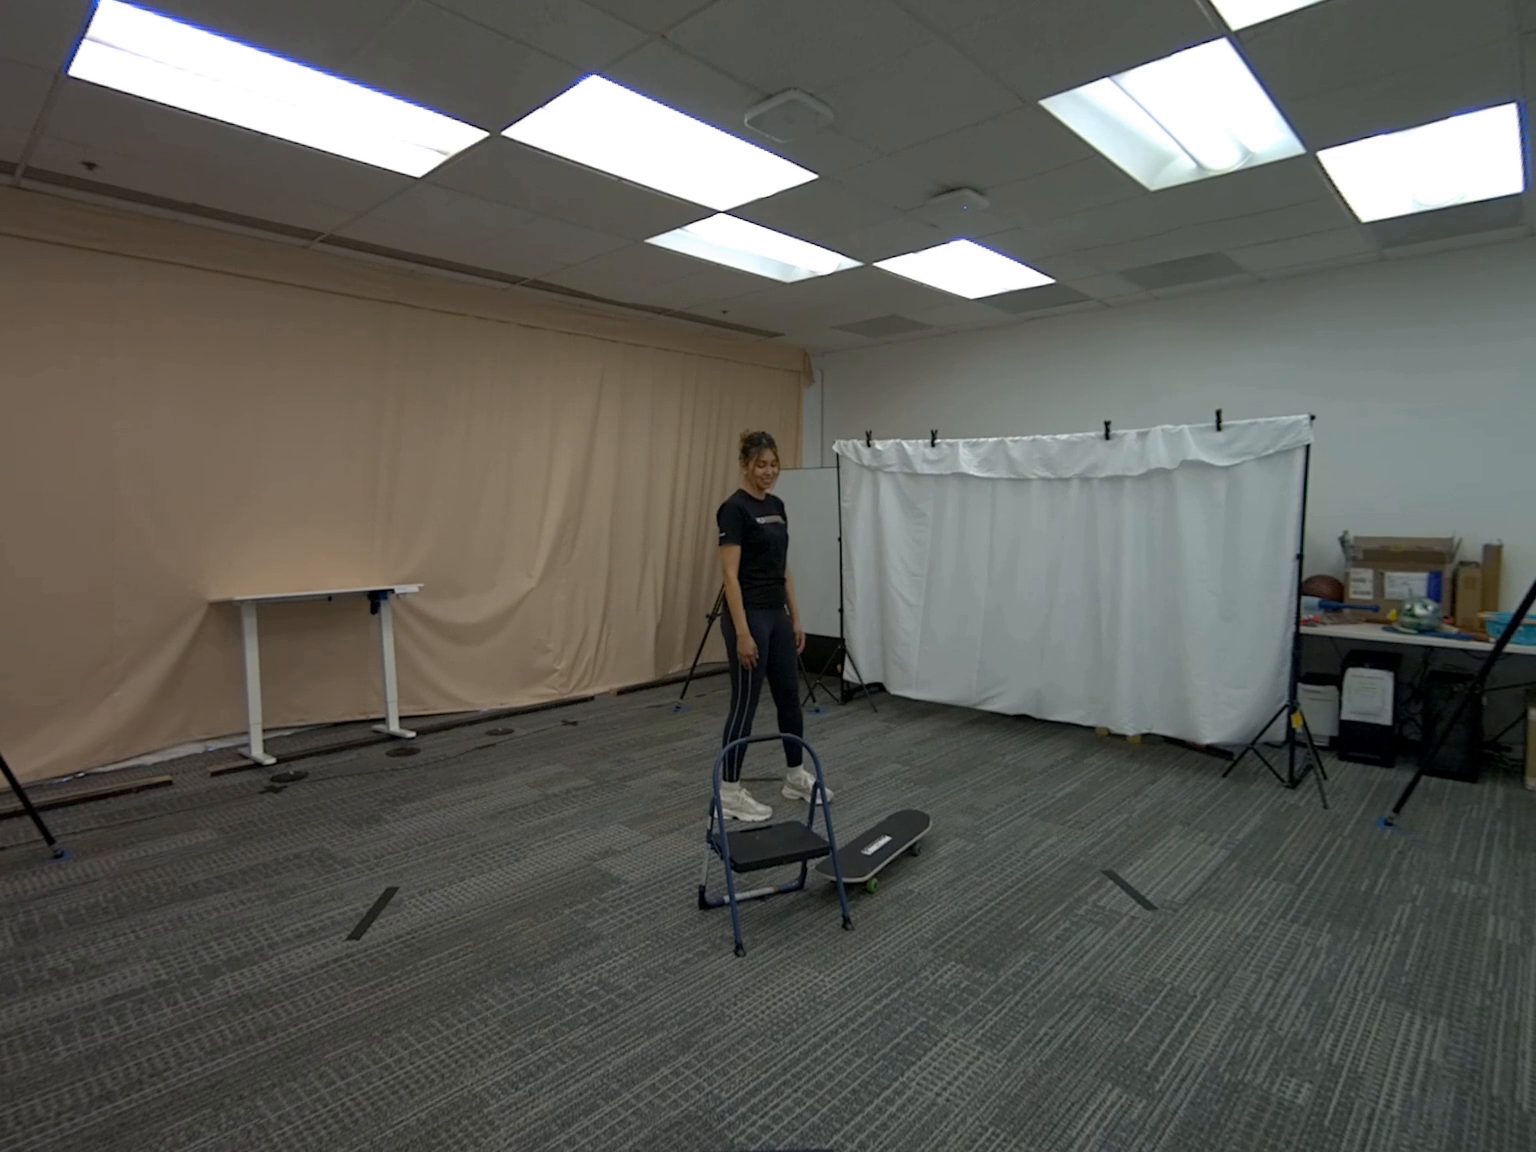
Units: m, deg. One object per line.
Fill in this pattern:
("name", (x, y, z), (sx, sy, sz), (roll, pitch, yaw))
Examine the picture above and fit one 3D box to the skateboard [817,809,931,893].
("skateboard", (0.423, 1.066, 3.234), (0.199, 0.110, 0.763), (2, 5, 33))
